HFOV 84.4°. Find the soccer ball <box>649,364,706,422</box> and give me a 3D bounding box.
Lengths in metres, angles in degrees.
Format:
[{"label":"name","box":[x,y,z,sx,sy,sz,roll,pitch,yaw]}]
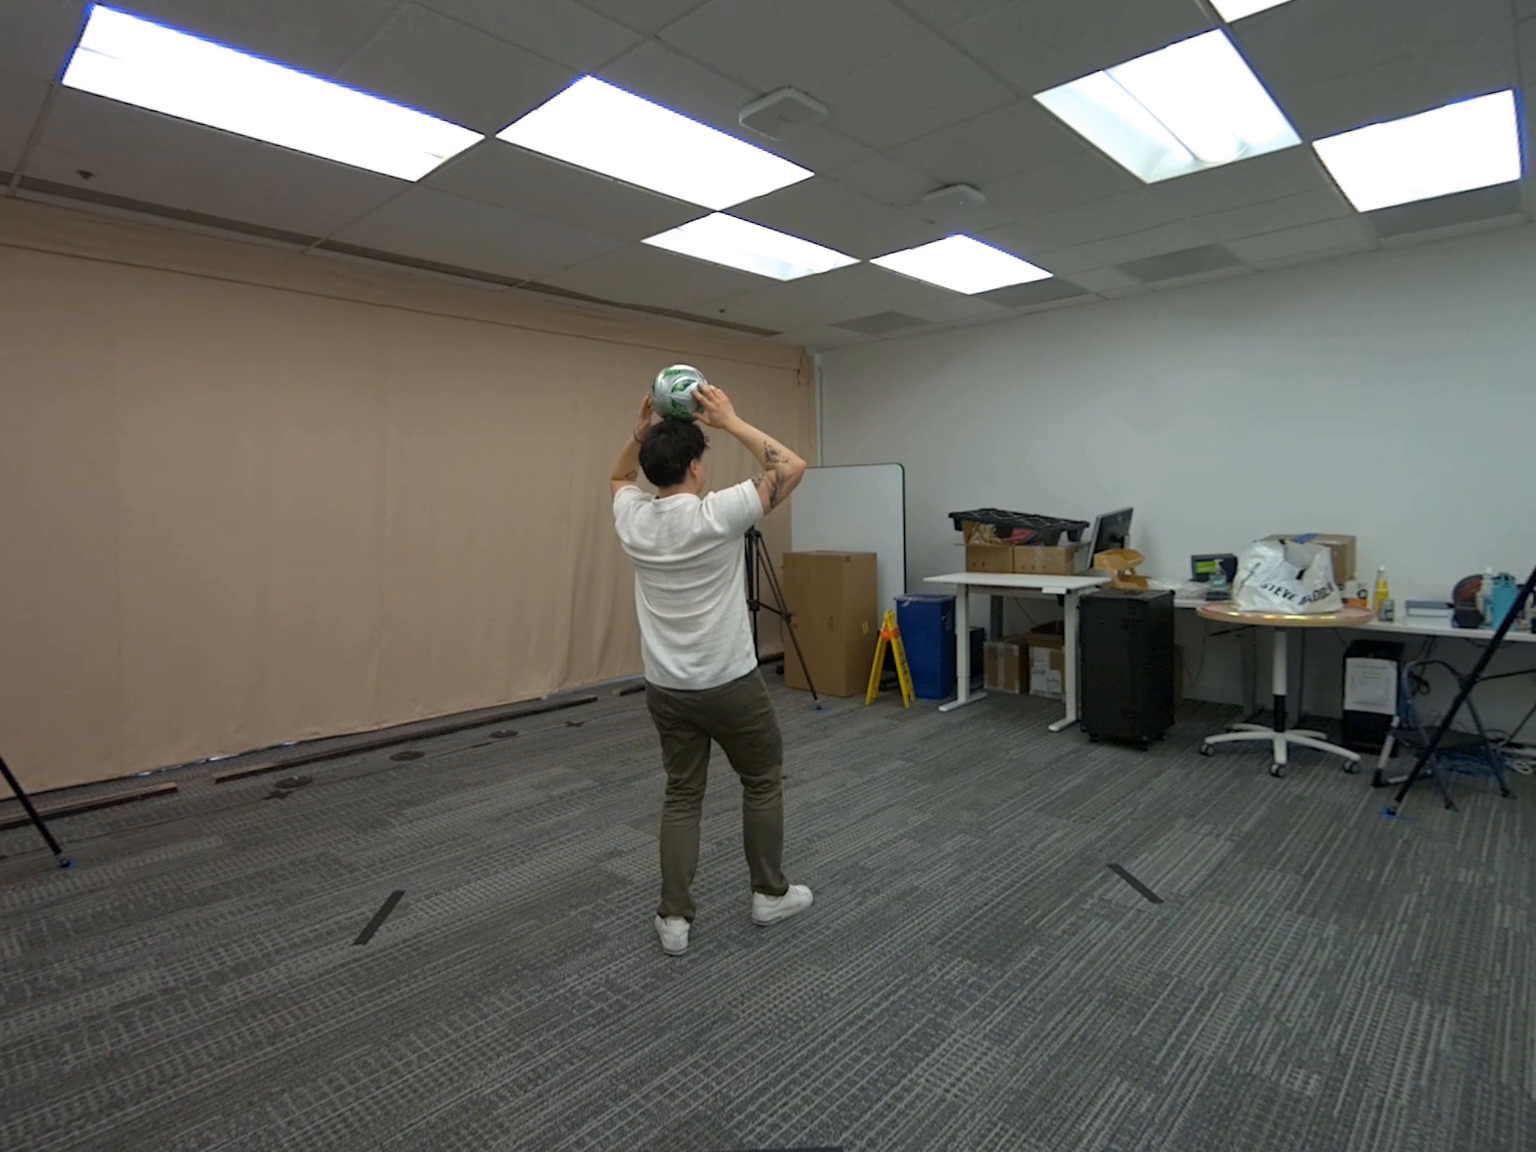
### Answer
[{"label":"soccer ball","box":[-0.274,-0.565,2.638,0.187,0.187,0.188,-1,4,-2]}]
